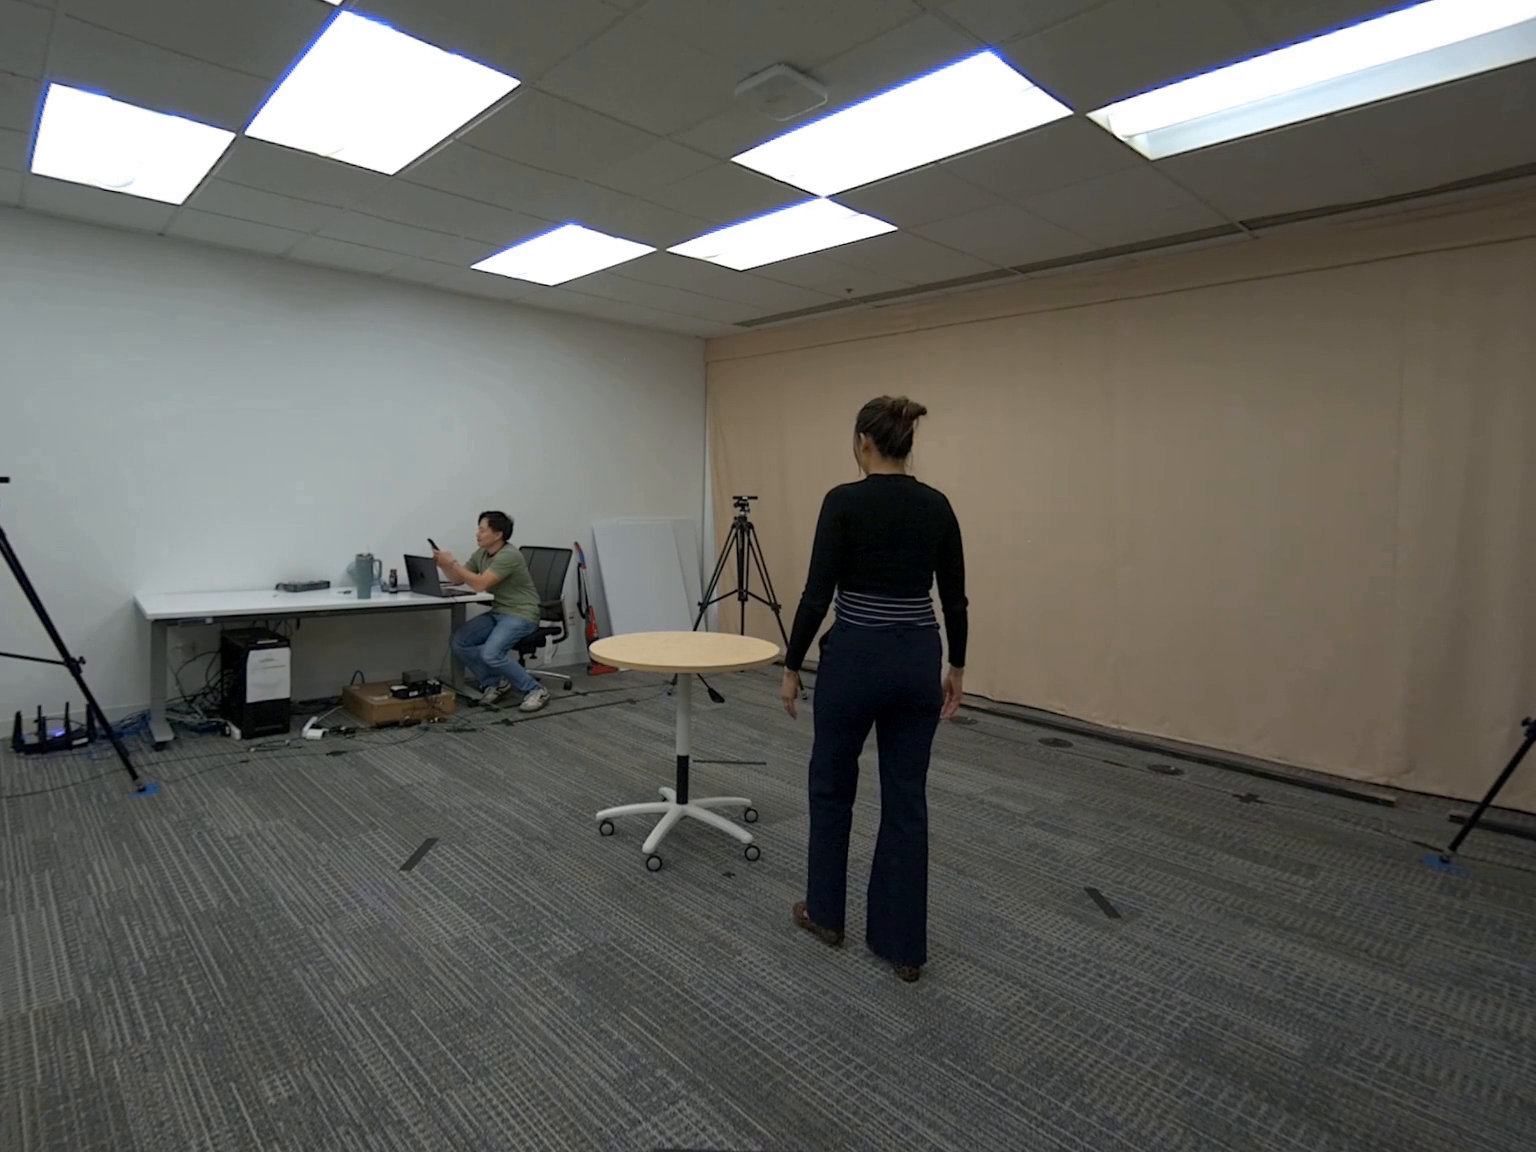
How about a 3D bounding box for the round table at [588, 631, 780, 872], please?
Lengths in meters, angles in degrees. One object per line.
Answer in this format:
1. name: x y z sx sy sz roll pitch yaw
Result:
1. round table: -0.352 0.681 3.425 0.763 0.792 0.766 1 4 -1
